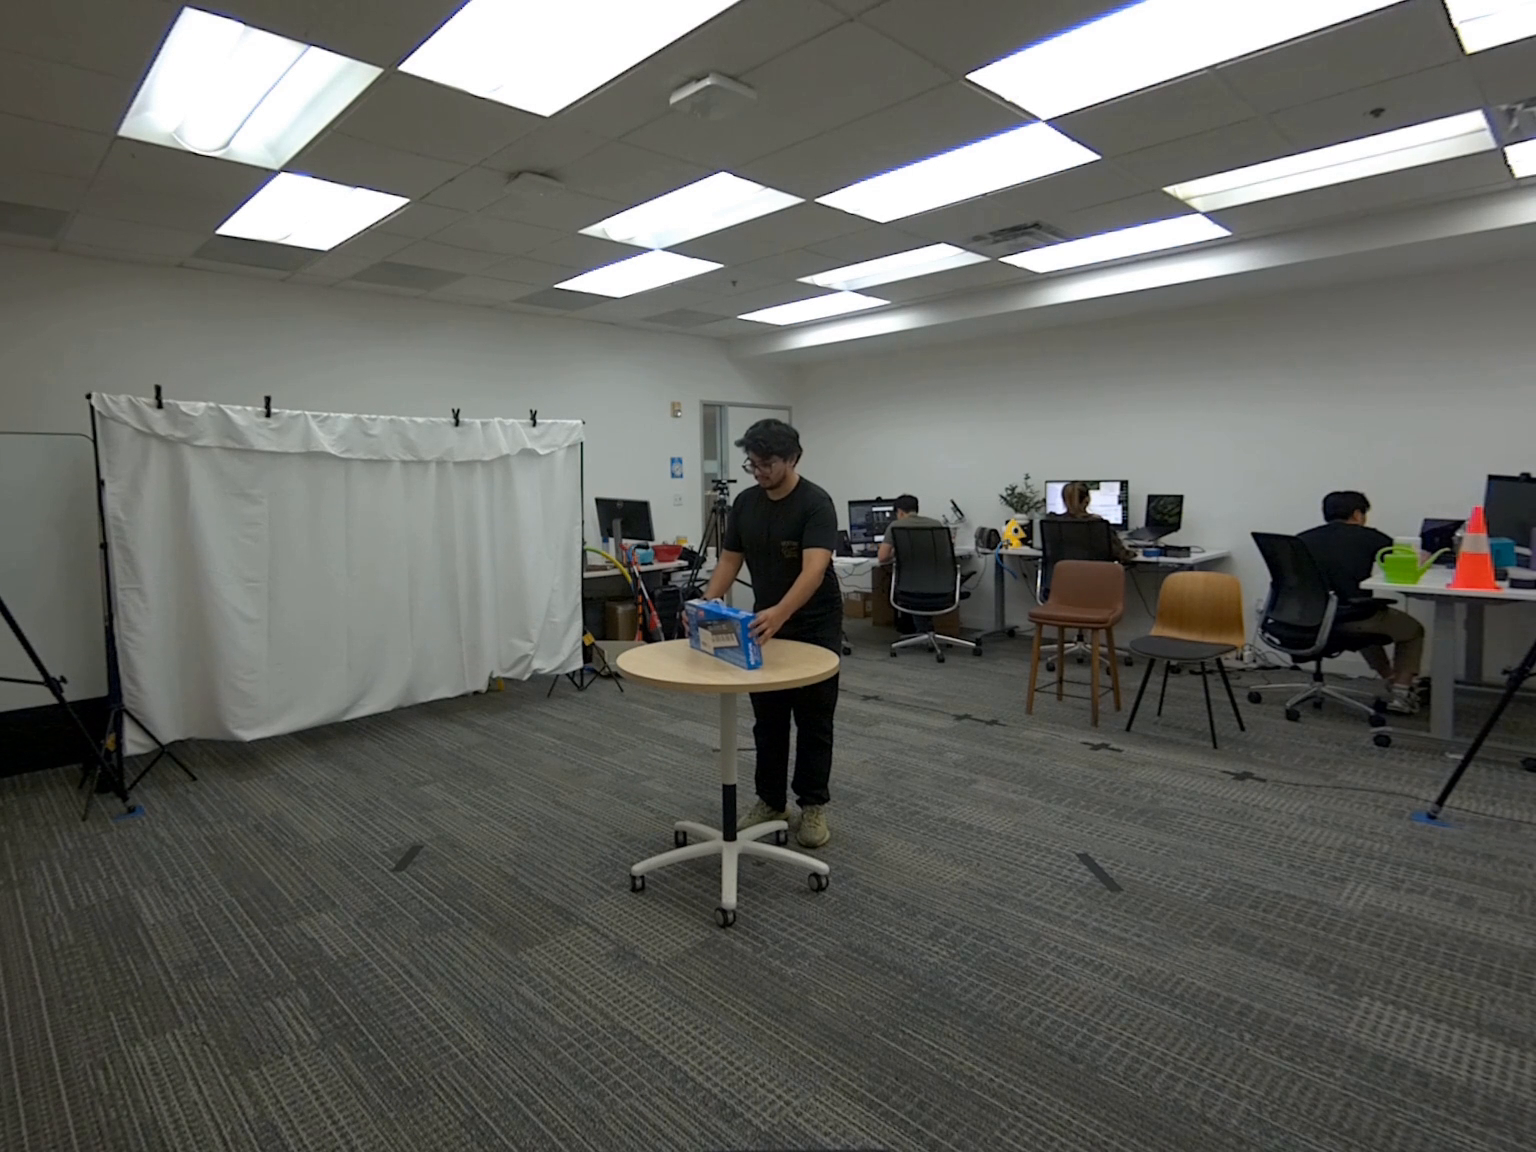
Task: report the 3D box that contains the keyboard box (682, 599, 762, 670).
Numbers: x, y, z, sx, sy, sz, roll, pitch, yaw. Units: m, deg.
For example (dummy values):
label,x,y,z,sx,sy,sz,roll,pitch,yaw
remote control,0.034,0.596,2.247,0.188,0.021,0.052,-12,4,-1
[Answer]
label,x,y,z,sx,sy,sz,roll,pitch,yaw
keyboard box,-0.162,0.197,2.953,0.058,0.175,0.449,-9,9,-28
